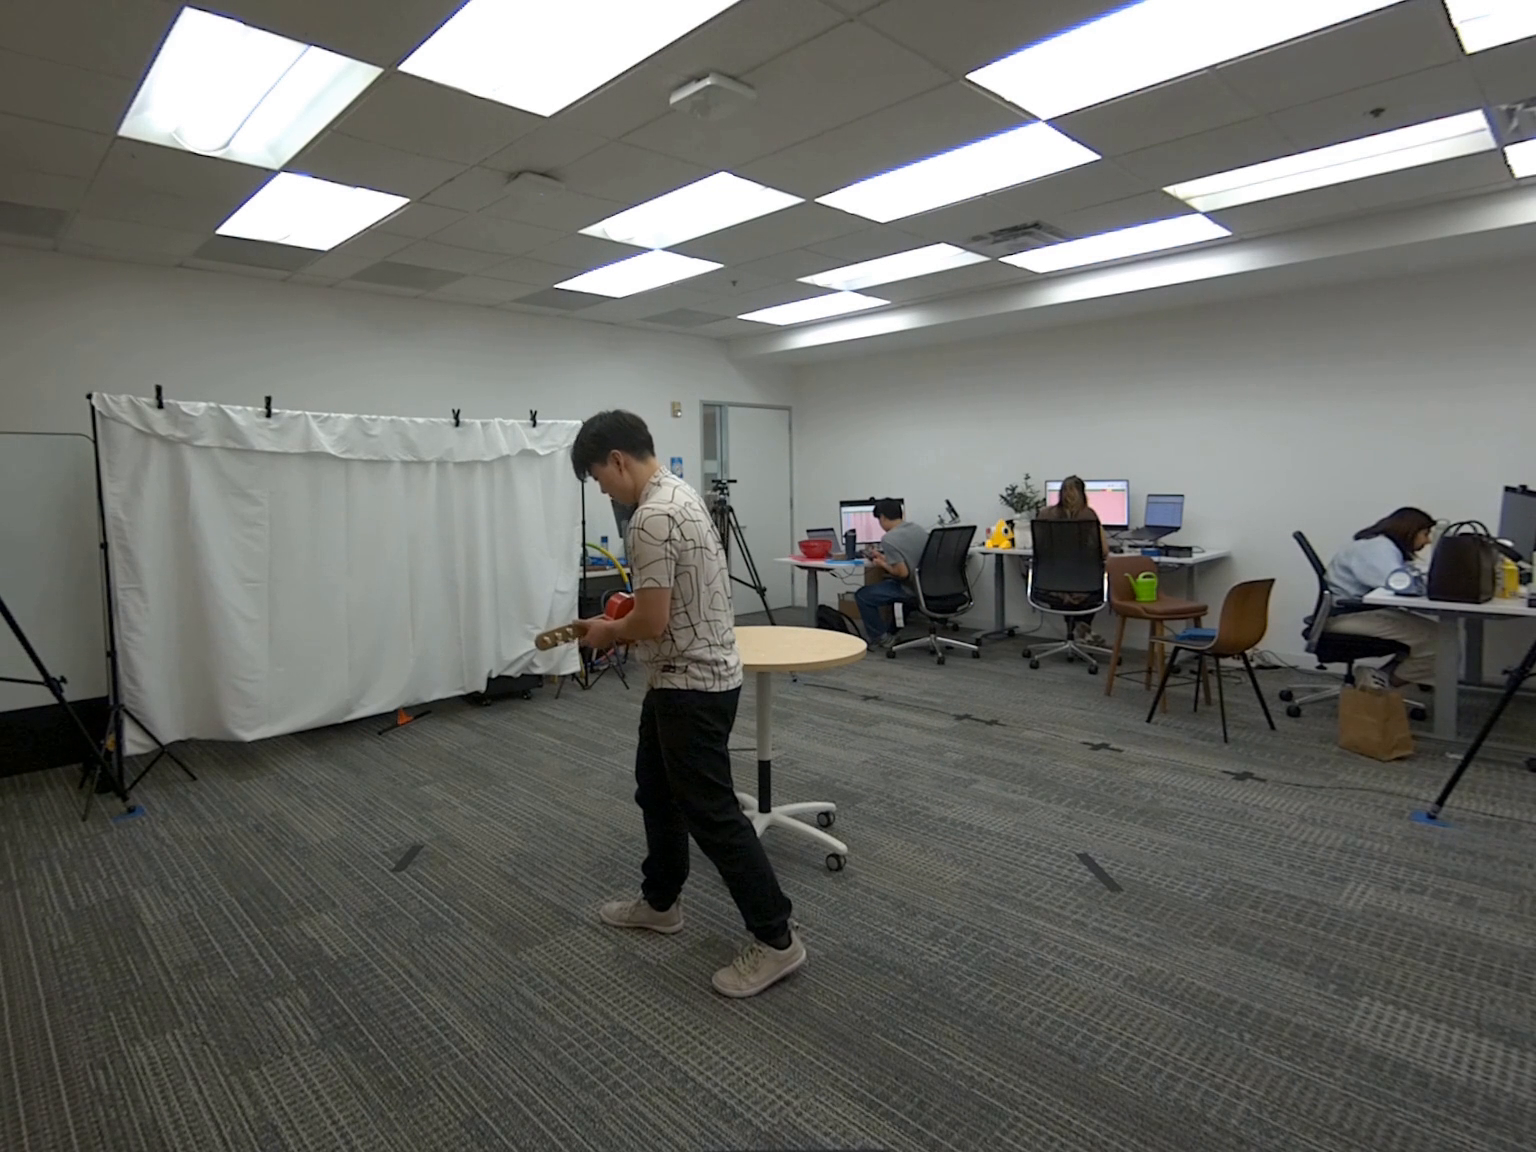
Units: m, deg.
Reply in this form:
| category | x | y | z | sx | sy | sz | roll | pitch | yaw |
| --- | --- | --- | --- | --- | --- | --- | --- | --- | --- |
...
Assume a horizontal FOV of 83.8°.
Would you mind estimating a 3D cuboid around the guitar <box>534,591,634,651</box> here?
| category | x | y | z | sx | sy | sz | roll | pitch | yaw |
| --- | --- | --- | --- | --- | --- | --- | --- | --- | --- |
| guitar | -0.454 | 0.158 | 2.586 | 0.491 | 0.188 | 0.073 | -28 | 29 | -33 |
